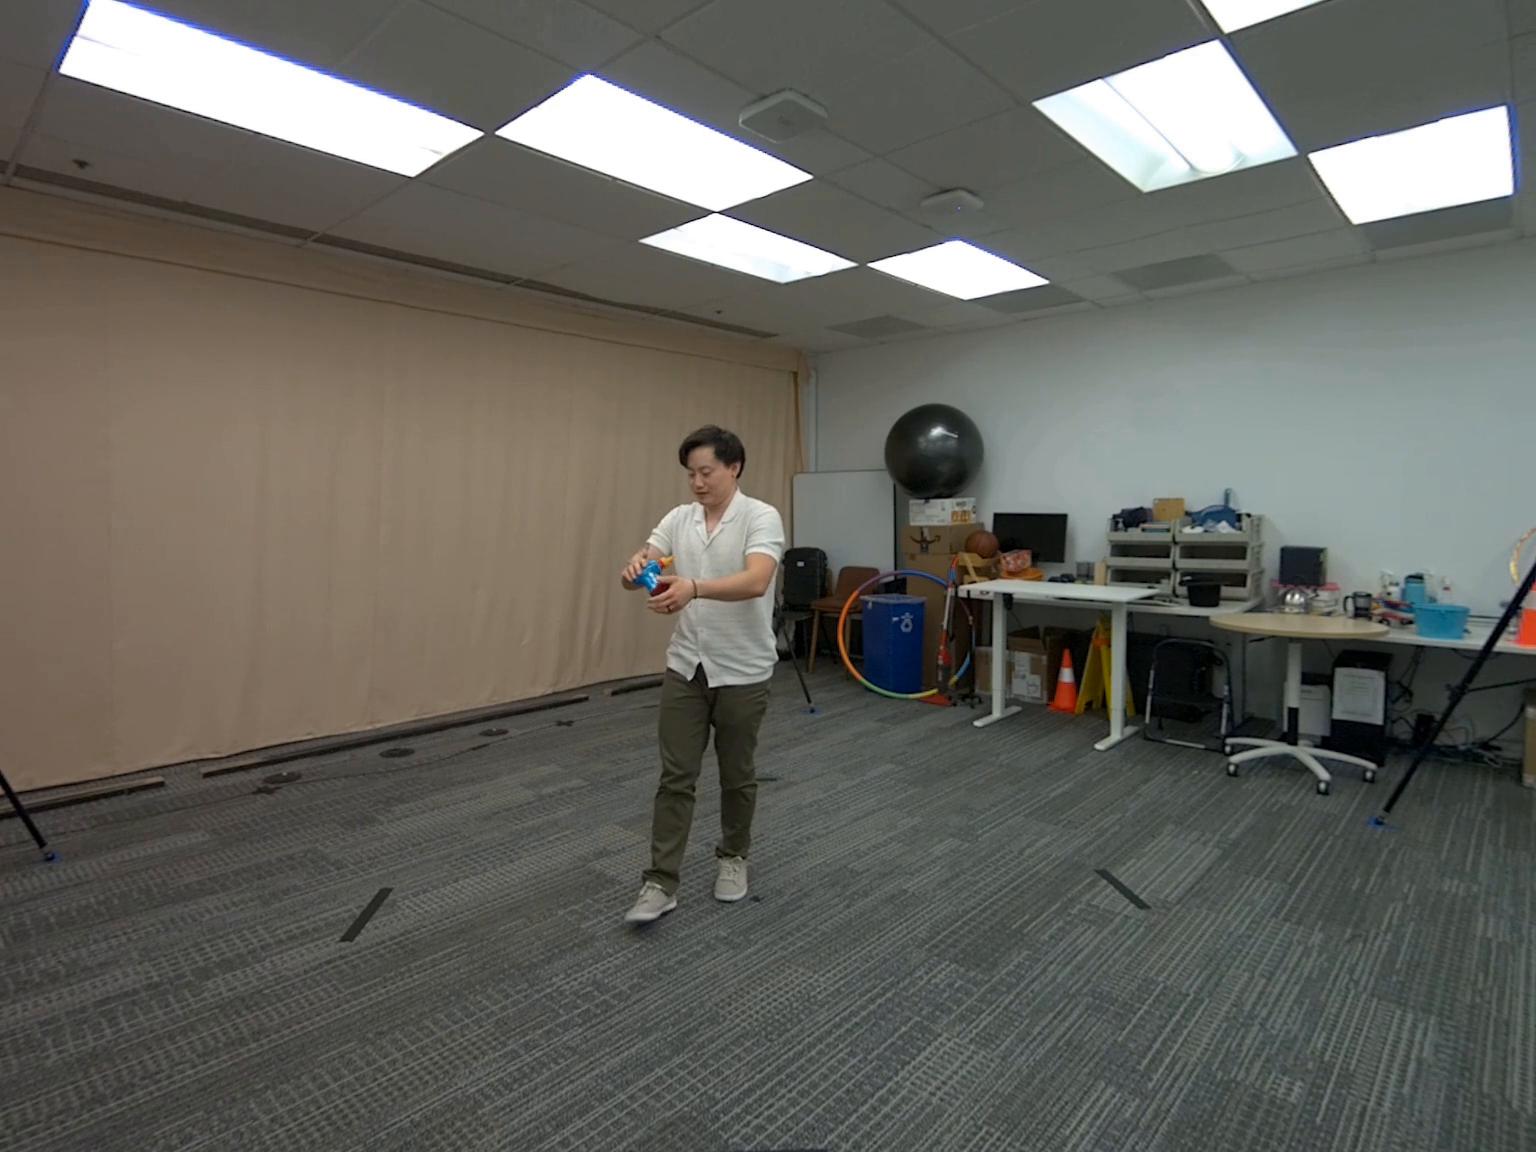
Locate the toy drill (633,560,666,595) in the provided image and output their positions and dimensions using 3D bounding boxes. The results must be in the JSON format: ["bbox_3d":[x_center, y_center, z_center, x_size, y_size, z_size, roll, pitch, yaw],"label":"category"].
[{"bbox_3d":[-0.332,-0.003,2.650,0.167,0.060,0.151,-30,45,-24],"label":"toy drill"}]
